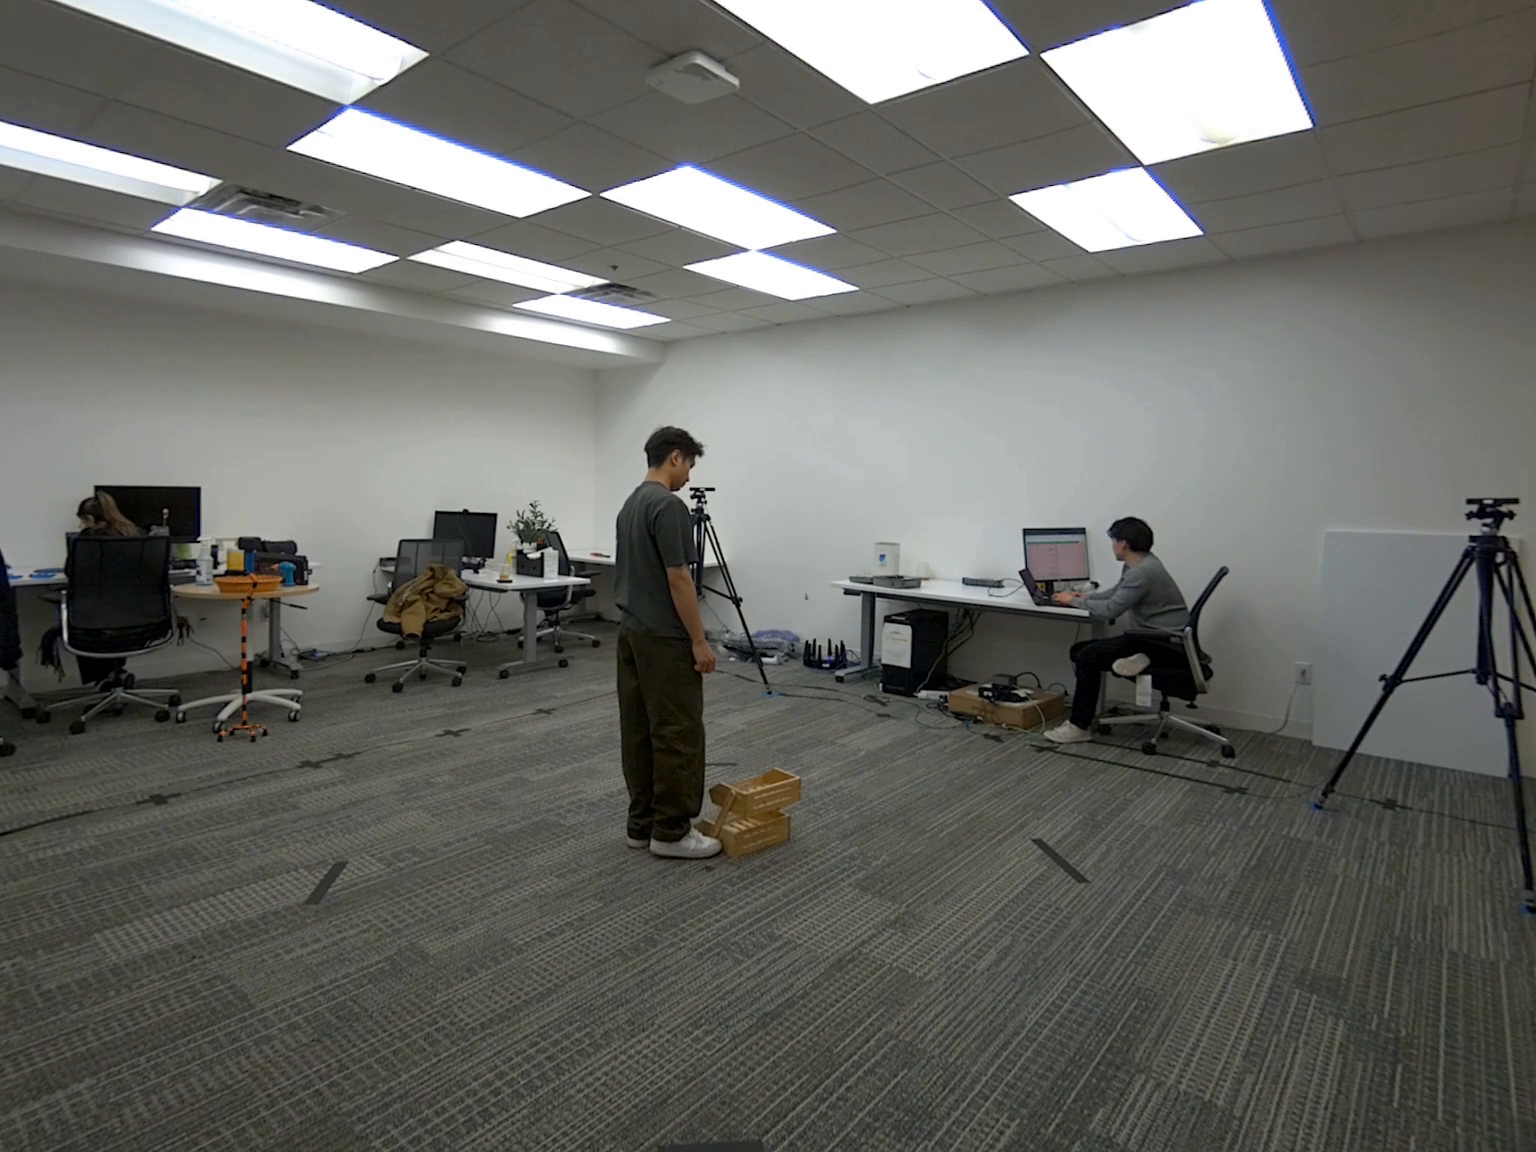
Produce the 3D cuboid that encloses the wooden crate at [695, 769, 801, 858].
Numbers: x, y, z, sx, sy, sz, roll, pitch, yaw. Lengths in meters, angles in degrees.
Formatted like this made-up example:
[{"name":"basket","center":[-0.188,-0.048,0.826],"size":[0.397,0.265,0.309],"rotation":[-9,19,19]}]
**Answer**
[{"name":"wooden crate","center":[-0.096,0.914,3.367],"size":[0.315,0.272,0.312],"rotation":[-3,6,-42]}]
